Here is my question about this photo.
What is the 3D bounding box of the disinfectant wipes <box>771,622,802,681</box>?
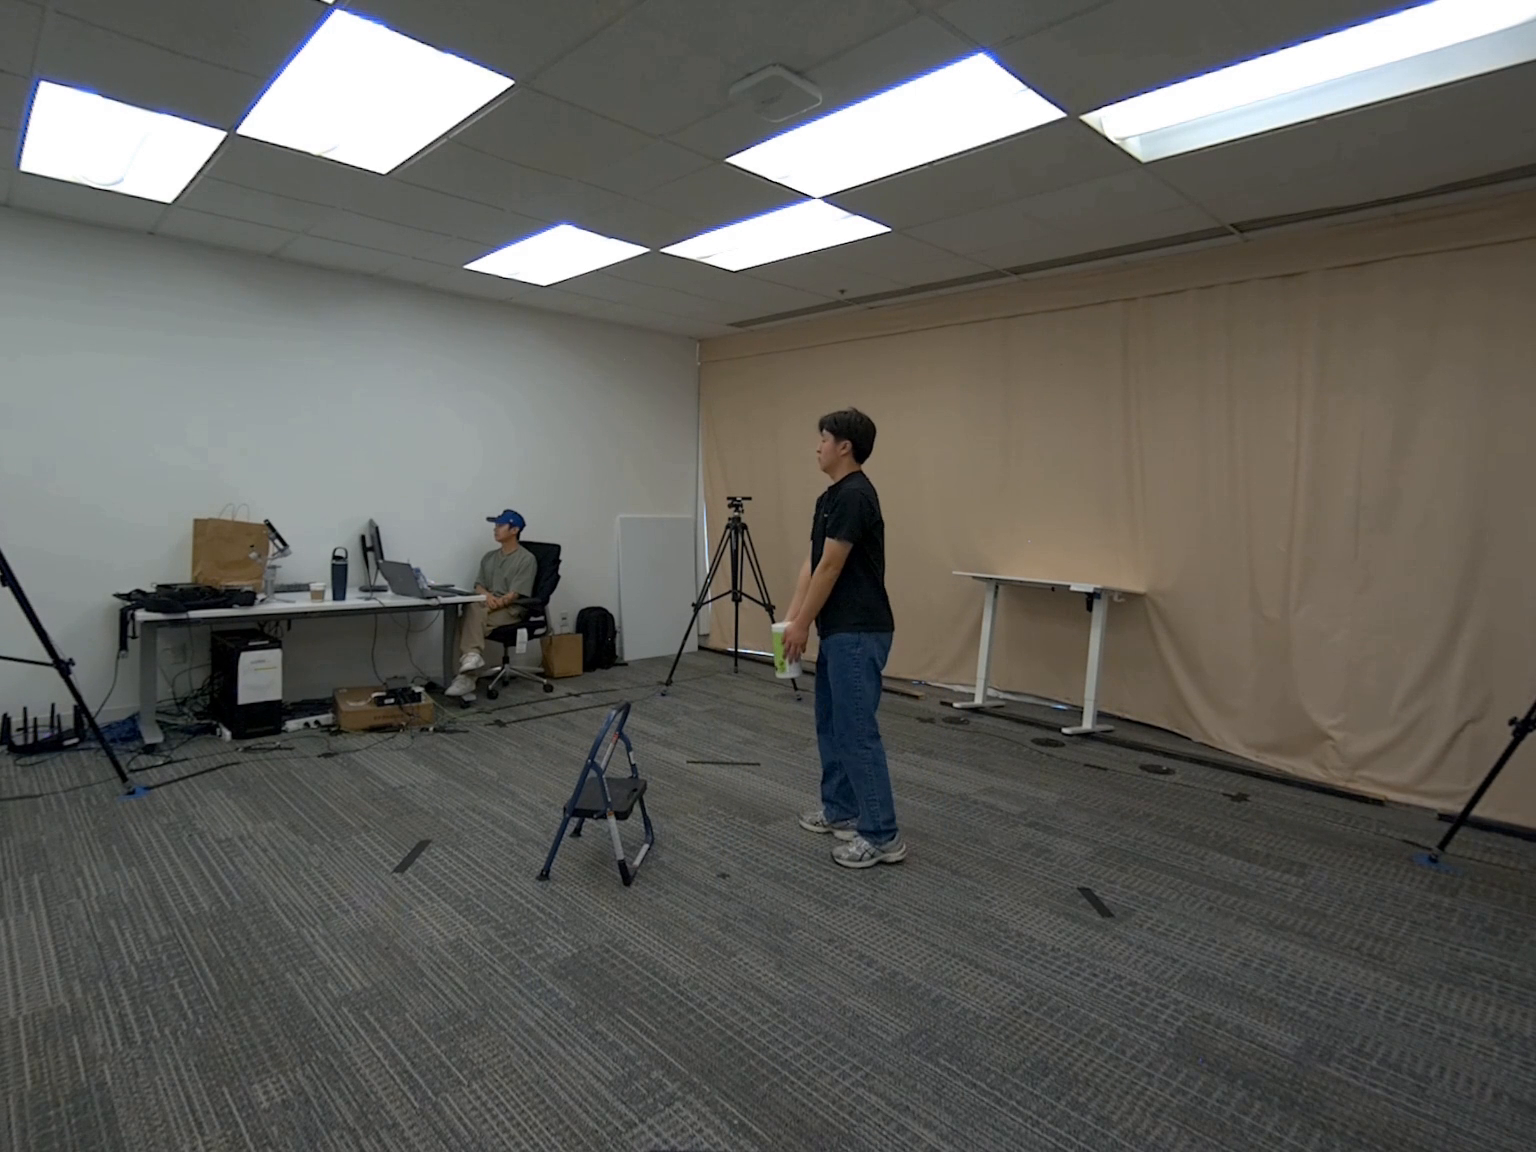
[{"bbox_3d":[0.069,0.299,3.408,0.118,0.217,0.118,-5,4,-1],"label":"disinfectant wipes"}]
